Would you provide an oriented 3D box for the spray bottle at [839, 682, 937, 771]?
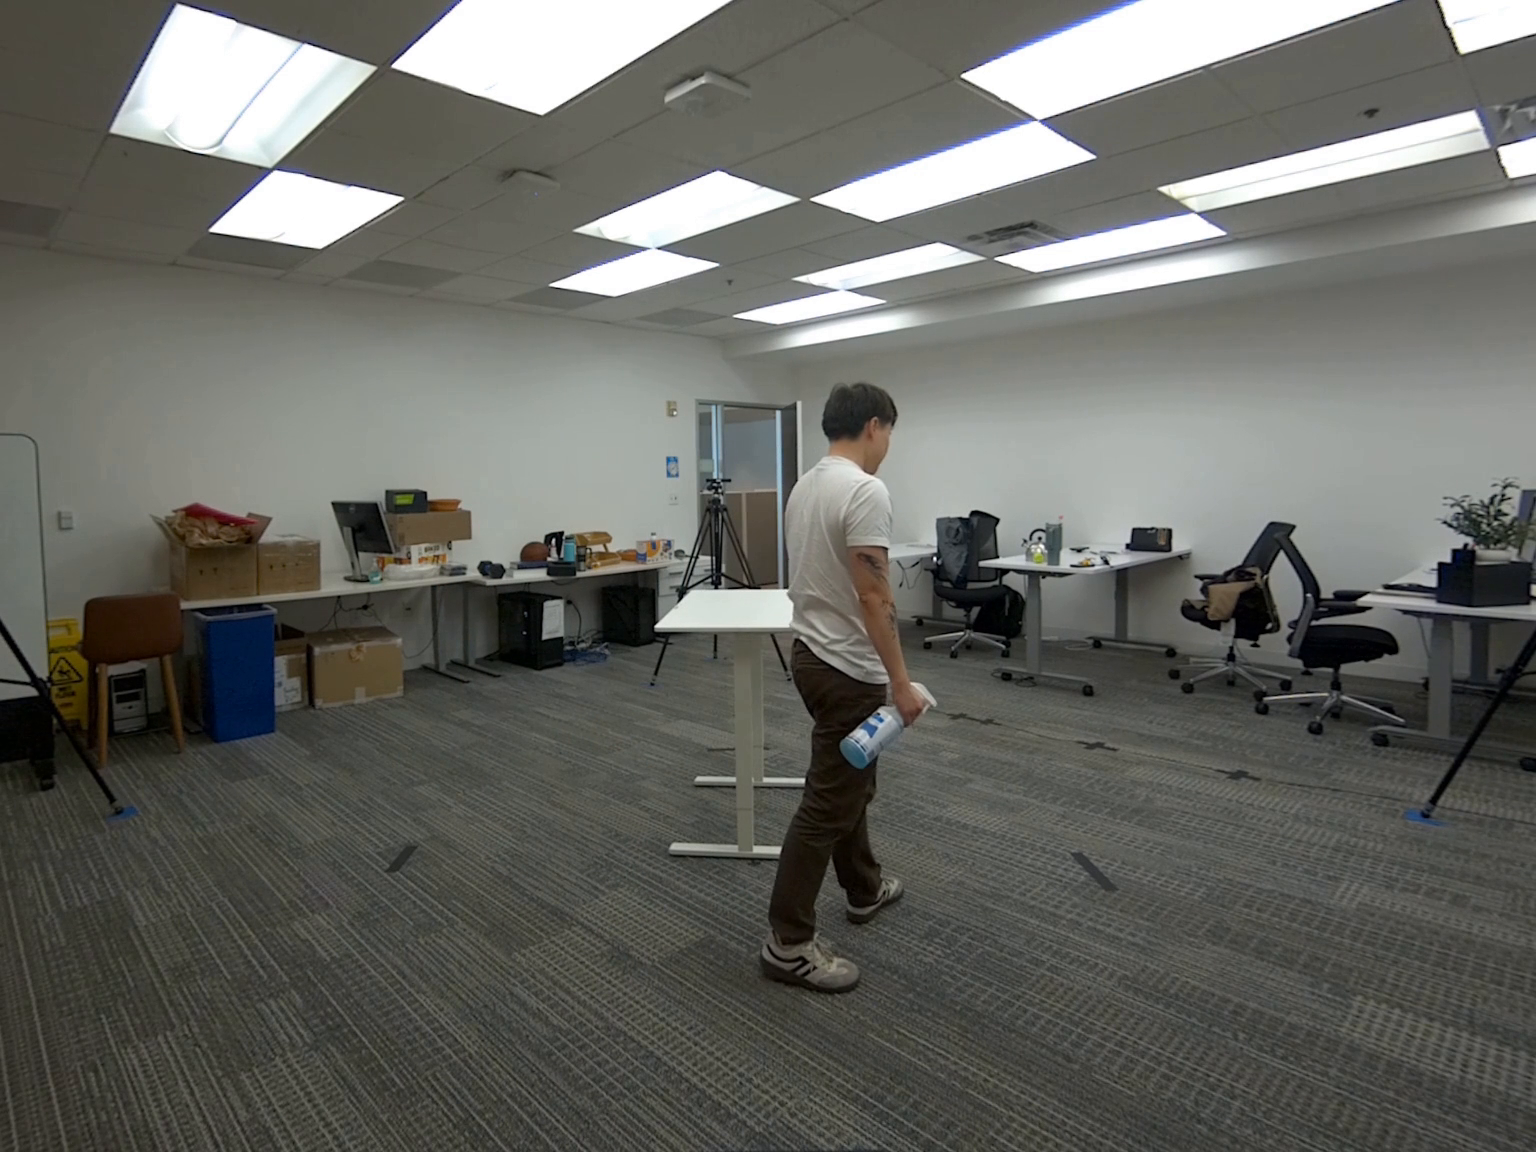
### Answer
[{"bbox_3d":[0.334,0.386,2.280,0.295,0.085,0.093,-35,64,-25],"label":"spray bottle"}]
